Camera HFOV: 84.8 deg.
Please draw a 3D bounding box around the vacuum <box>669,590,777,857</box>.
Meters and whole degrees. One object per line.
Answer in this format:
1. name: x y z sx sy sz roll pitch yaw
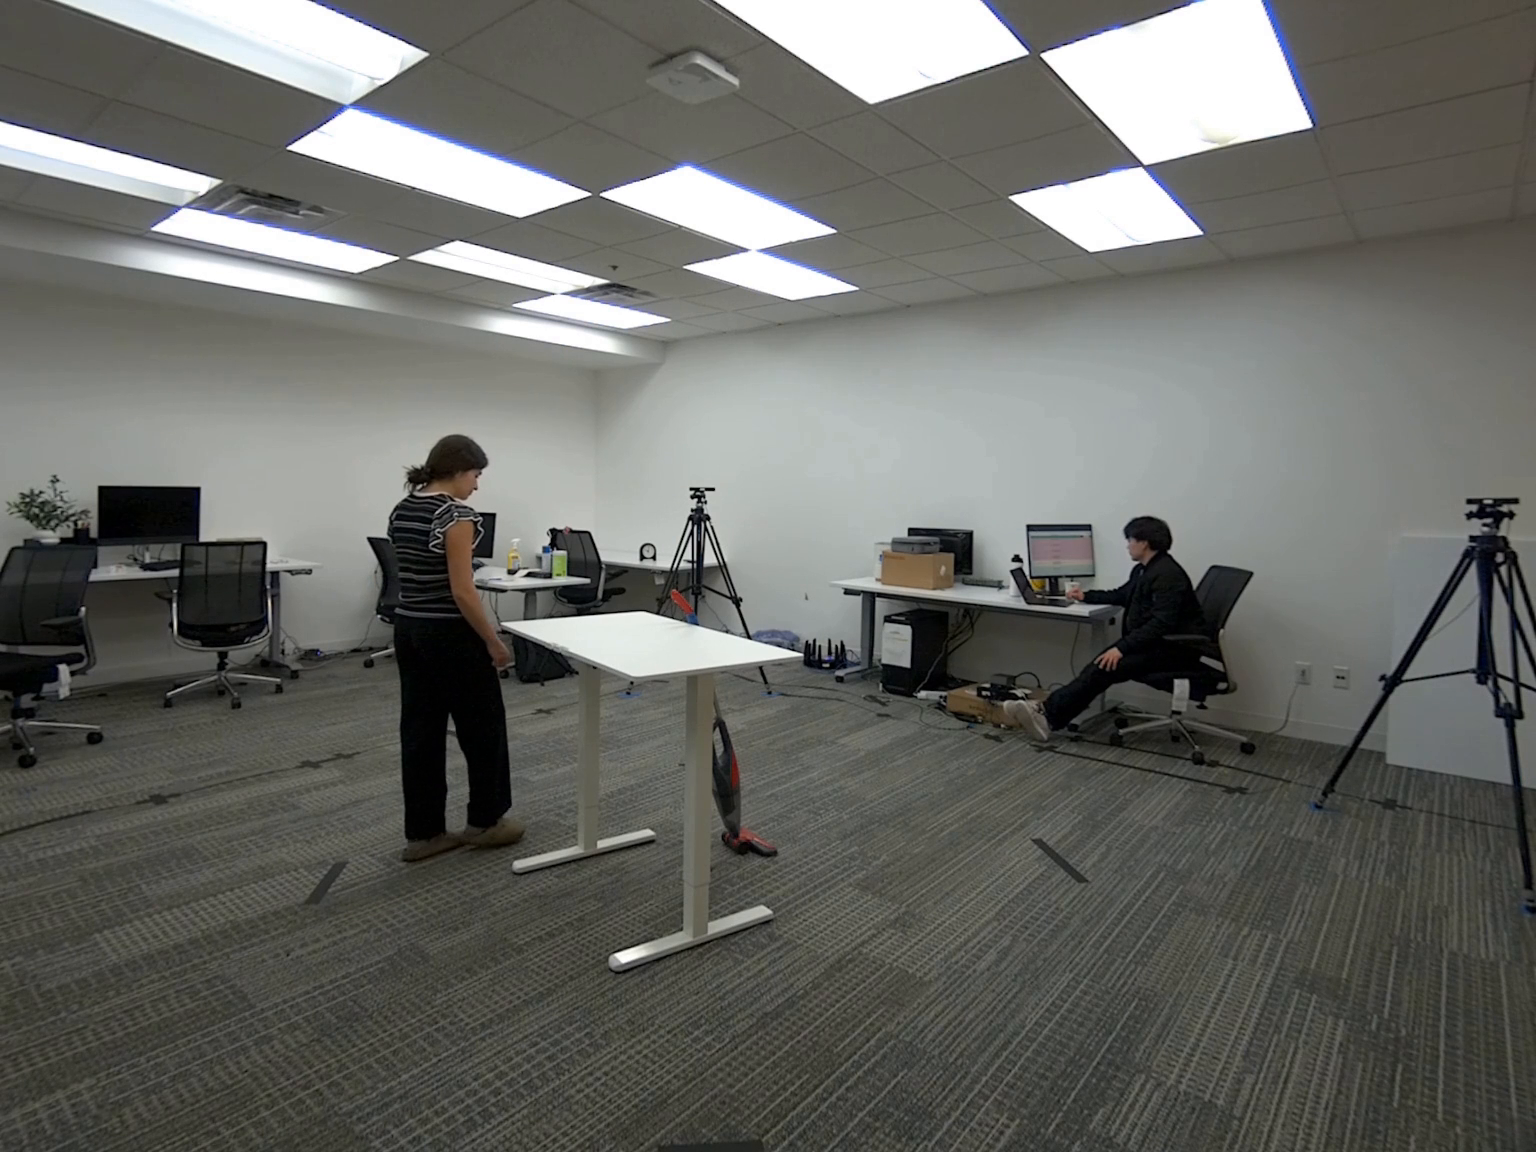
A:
1. vacuum: -0.216 0.564 3.226 0.141 1.037 0.260 -20 11 -30
